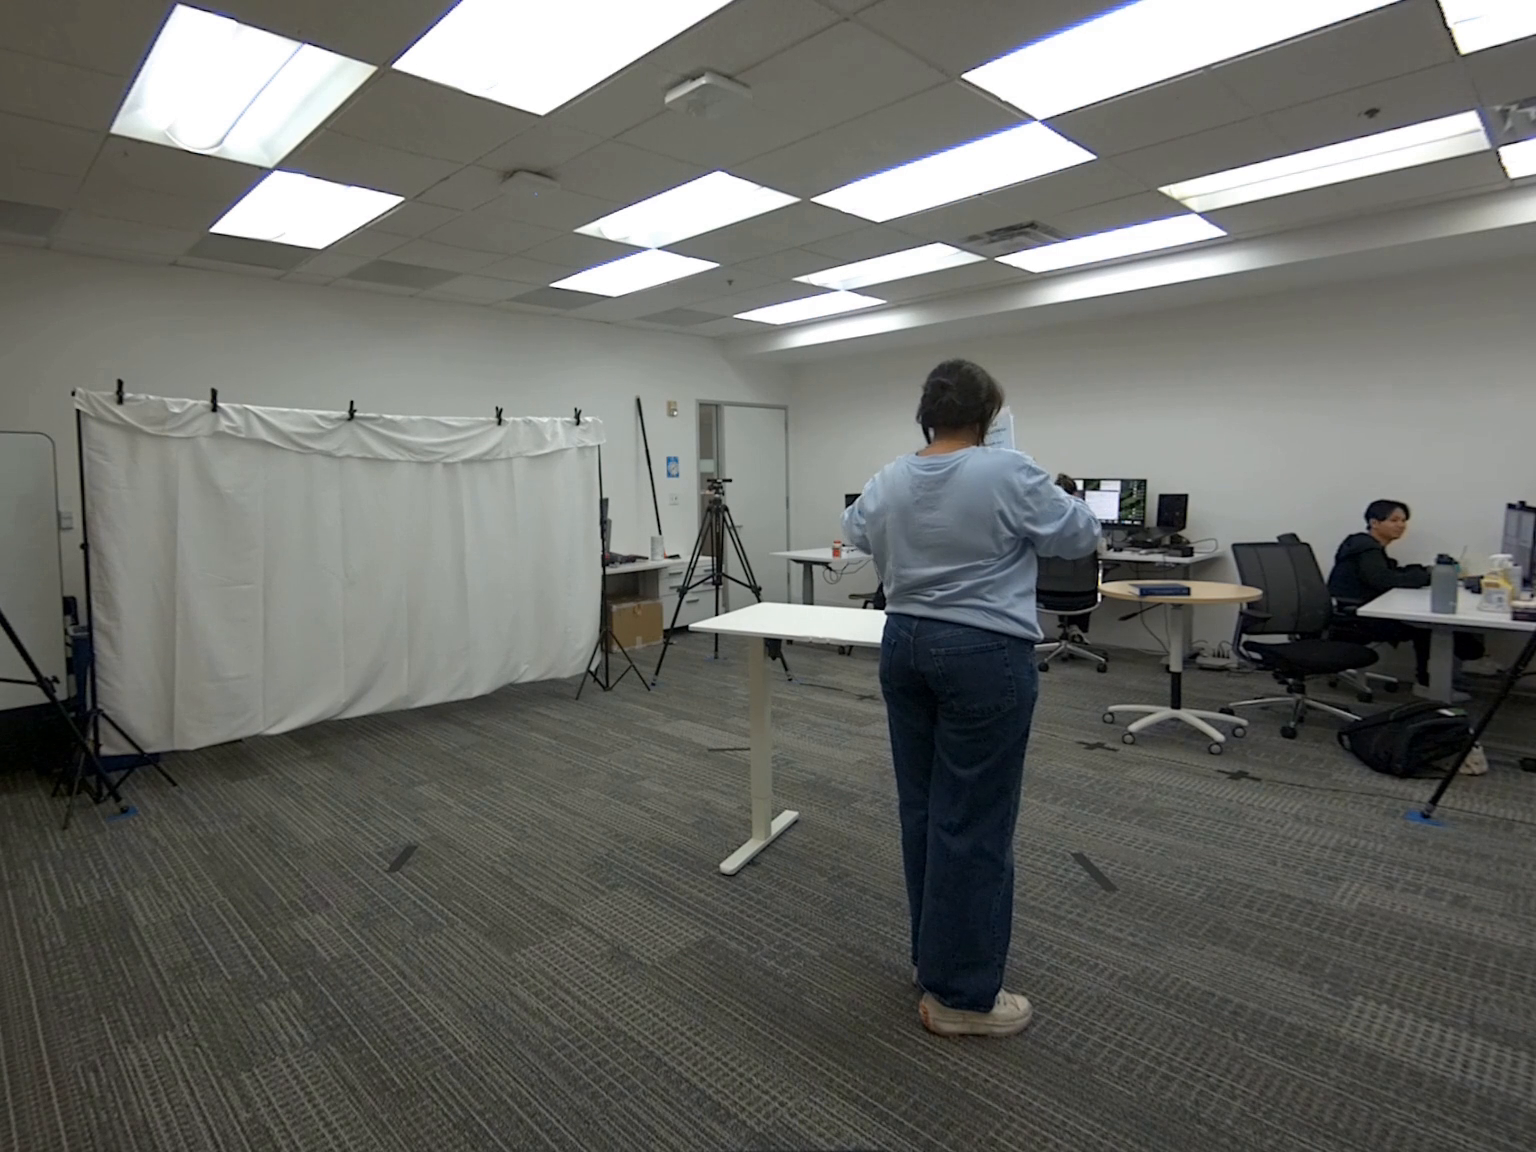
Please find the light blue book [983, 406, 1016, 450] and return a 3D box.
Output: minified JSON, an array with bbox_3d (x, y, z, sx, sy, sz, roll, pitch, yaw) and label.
[{"bbox_3d":[0.655,-0.359,2.531,0.195,0.266,0.057,-11,-26,31],"label":"light blue book"}]
